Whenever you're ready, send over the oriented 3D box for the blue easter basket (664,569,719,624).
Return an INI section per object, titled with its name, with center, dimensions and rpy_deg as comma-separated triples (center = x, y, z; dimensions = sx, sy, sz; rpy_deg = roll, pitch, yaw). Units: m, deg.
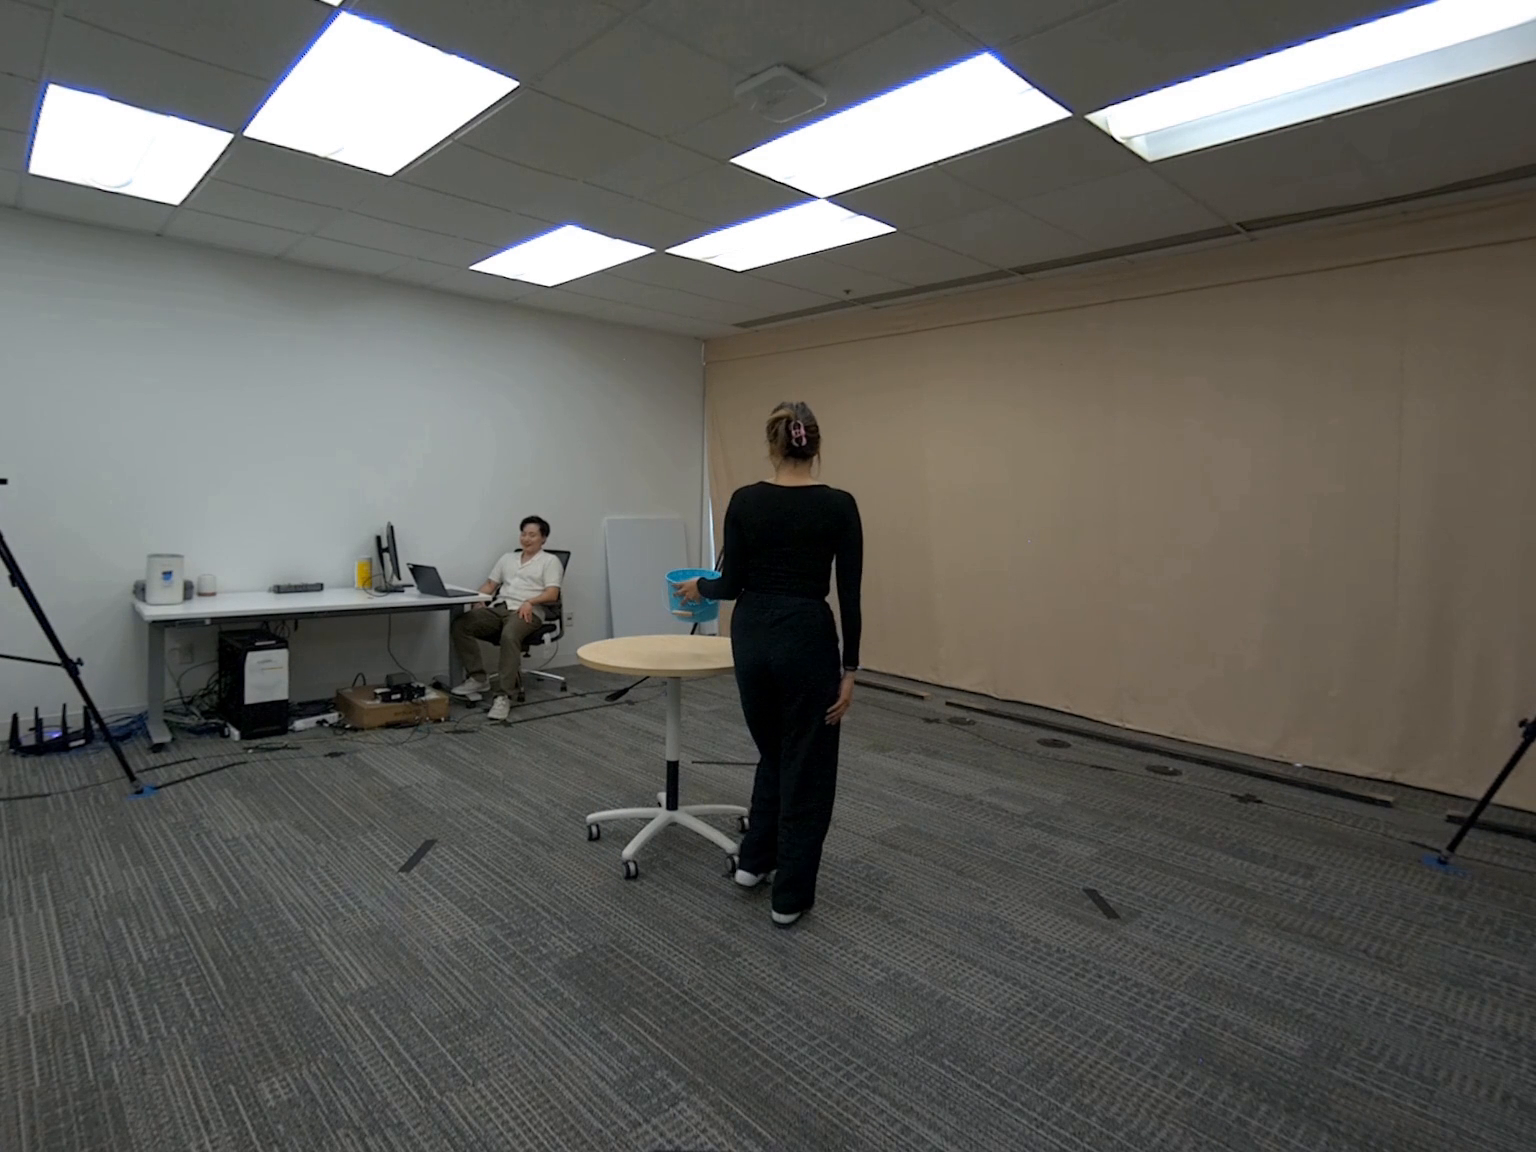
[blue easter basket]
center = -0.287, 0.078, 3.189
dimensions = 0.243, 0.154, 0.246
rpy_deg = 3, 13, -2
